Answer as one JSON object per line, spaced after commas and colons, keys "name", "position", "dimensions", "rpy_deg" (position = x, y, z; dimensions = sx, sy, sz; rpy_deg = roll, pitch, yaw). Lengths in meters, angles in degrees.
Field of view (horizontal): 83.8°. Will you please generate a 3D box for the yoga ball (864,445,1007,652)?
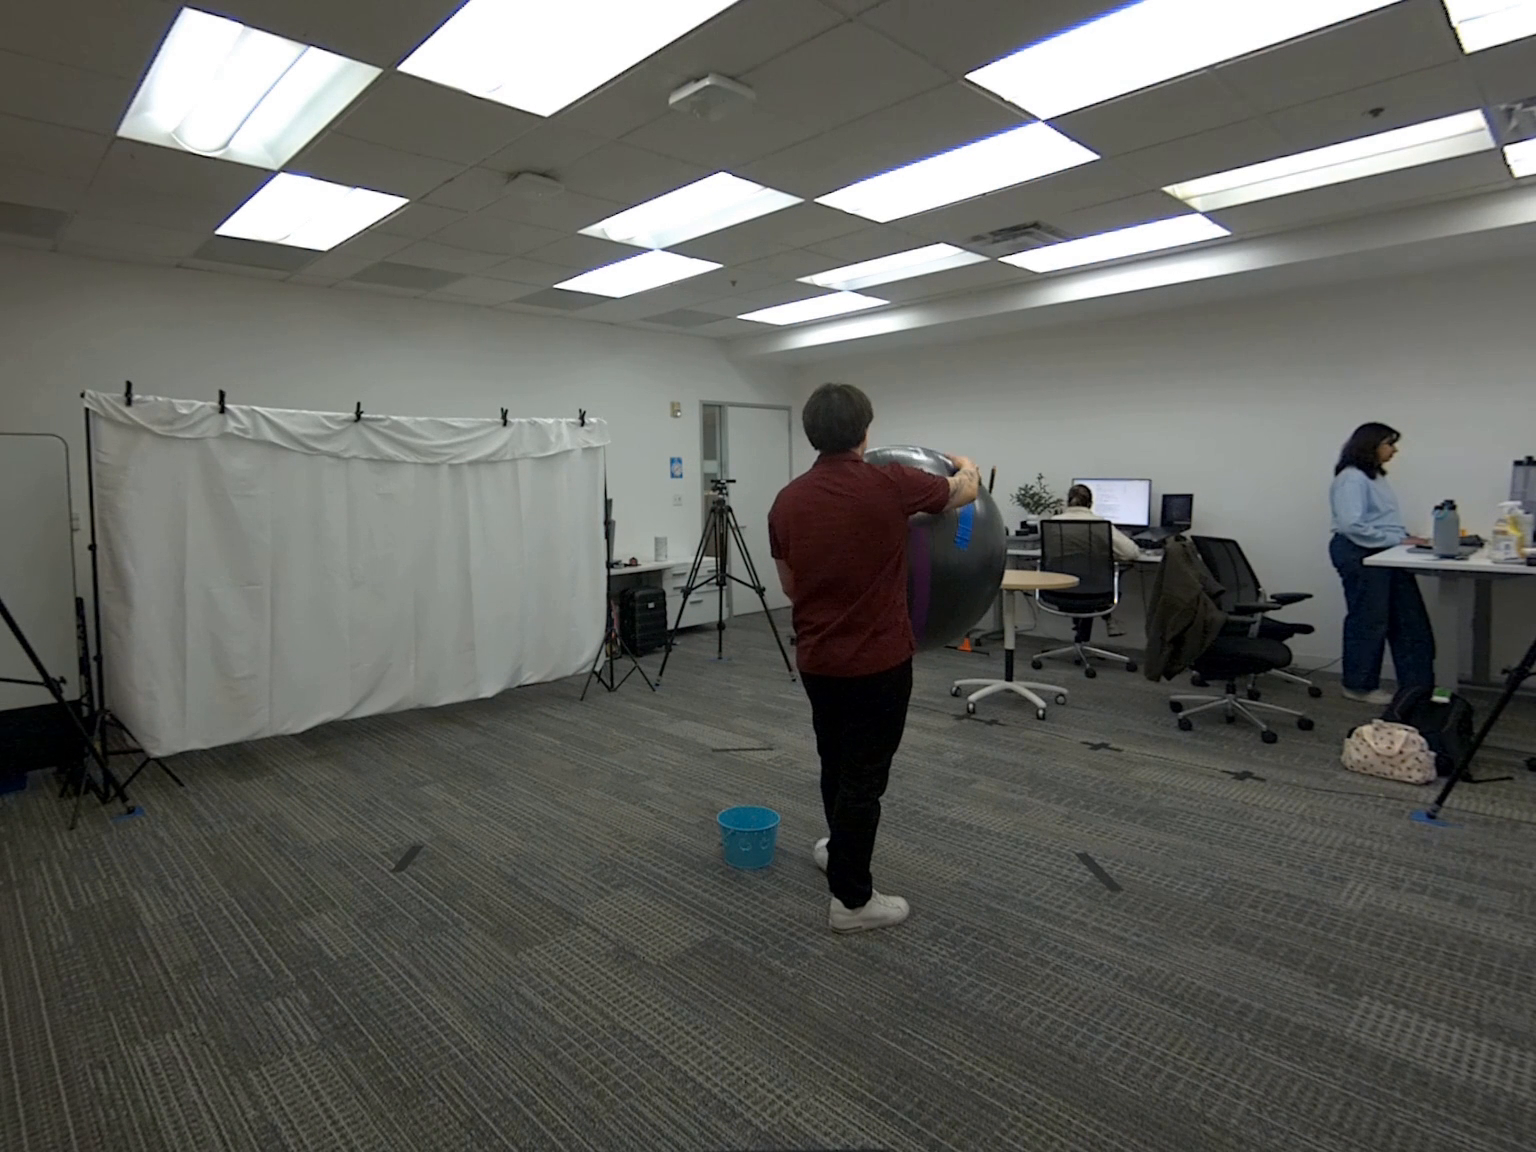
{"name": "yoga ball", "position": [0.477, -0.093, 3.127], "dimensions": [0.757, 0.755, 0.762], "rpy_deg": [-1, 5, -2]}
